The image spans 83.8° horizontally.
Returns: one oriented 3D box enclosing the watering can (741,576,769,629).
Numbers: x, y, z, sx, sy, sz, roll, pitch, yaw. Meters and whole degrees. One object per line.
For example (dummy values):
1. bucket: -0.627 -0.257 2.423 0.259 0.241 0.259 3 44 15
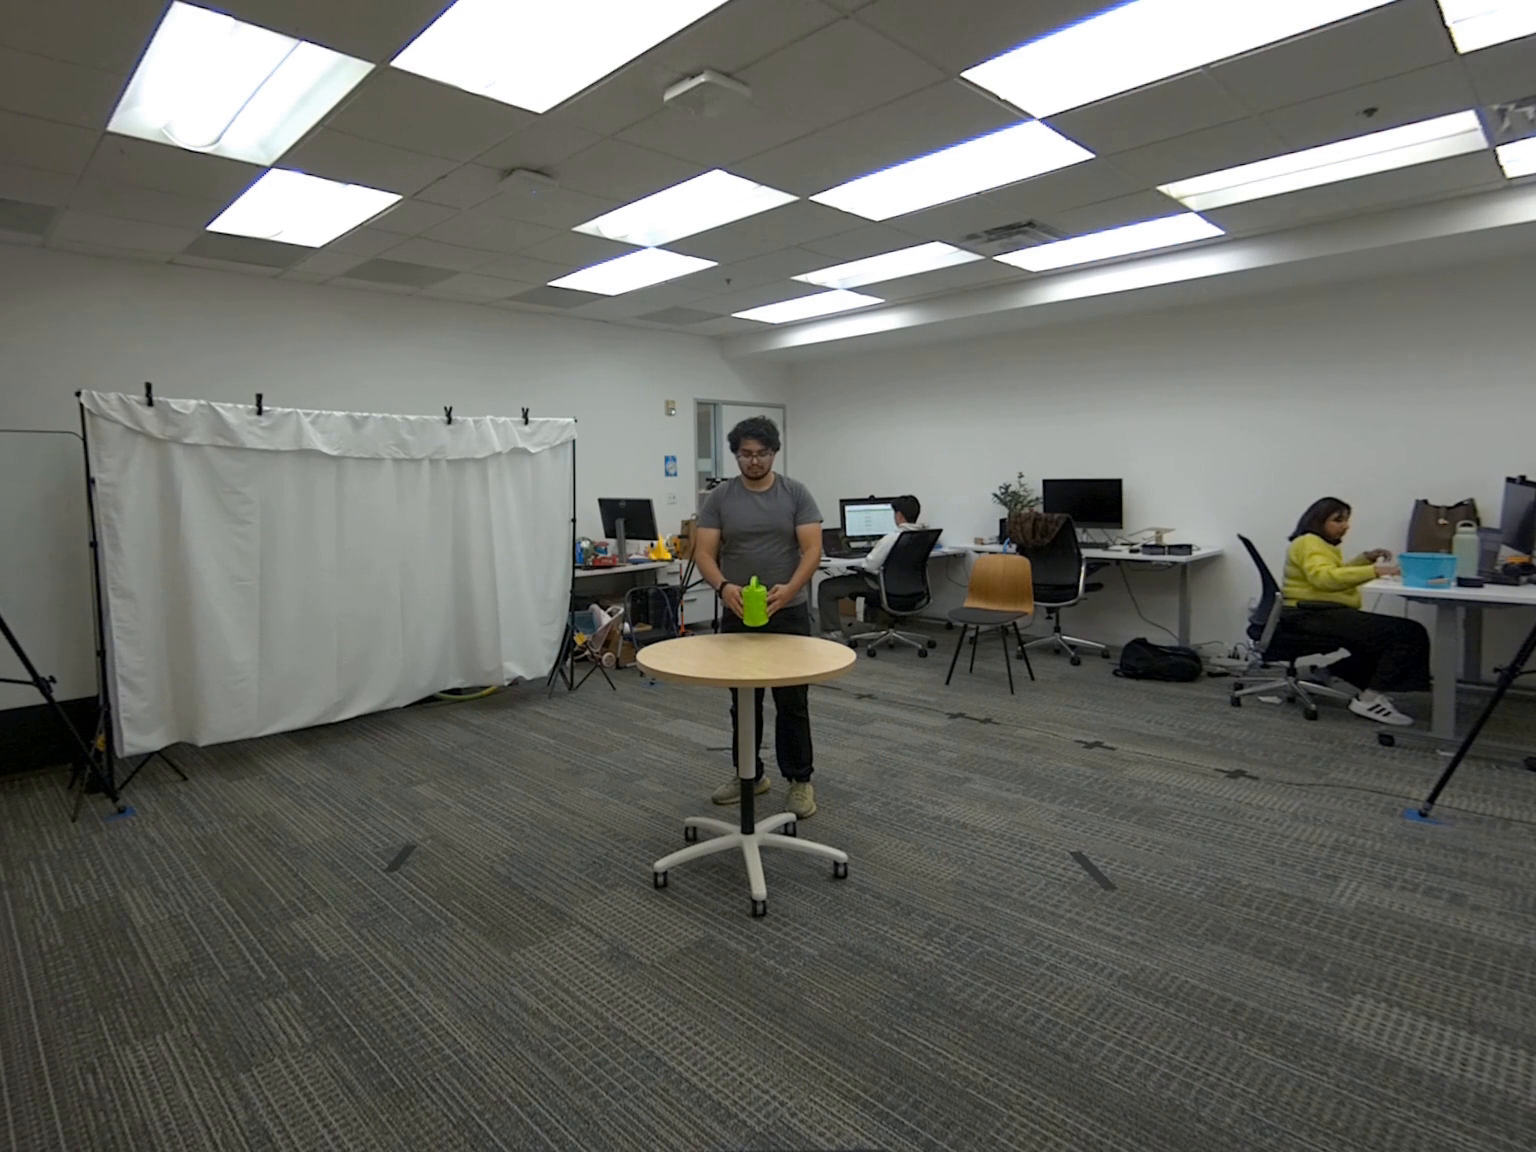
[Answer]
1. watering can: -0.076 0.104 3.212 0.099 0.175 0.277 -4 9 13
